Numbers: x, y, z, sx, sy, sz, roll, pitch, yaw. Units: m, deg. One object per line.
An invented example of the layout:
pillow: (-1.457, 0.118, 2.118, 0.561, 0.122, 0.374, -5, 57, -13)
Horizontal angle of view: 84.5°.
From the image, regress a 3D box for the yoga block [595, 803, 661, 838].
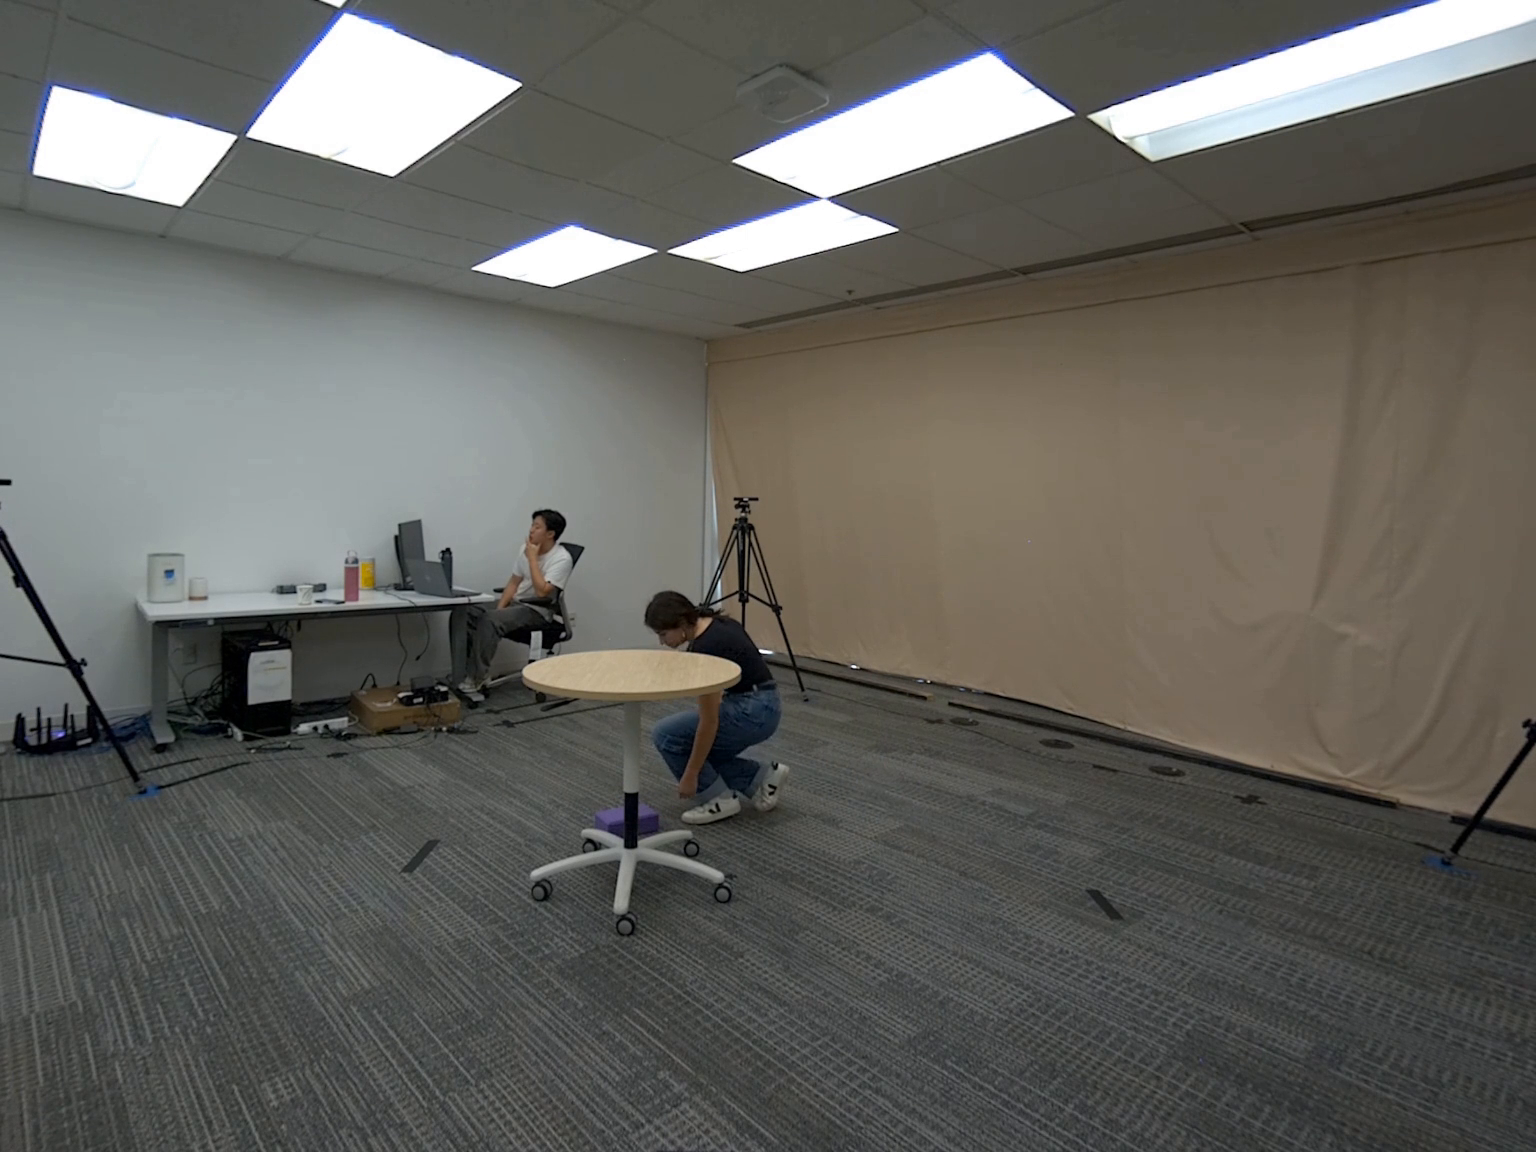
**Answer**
yoga block: (-0.594, 1.024, 3.501, 0.224, 0.076, 0.153, -3, 6, -35)
